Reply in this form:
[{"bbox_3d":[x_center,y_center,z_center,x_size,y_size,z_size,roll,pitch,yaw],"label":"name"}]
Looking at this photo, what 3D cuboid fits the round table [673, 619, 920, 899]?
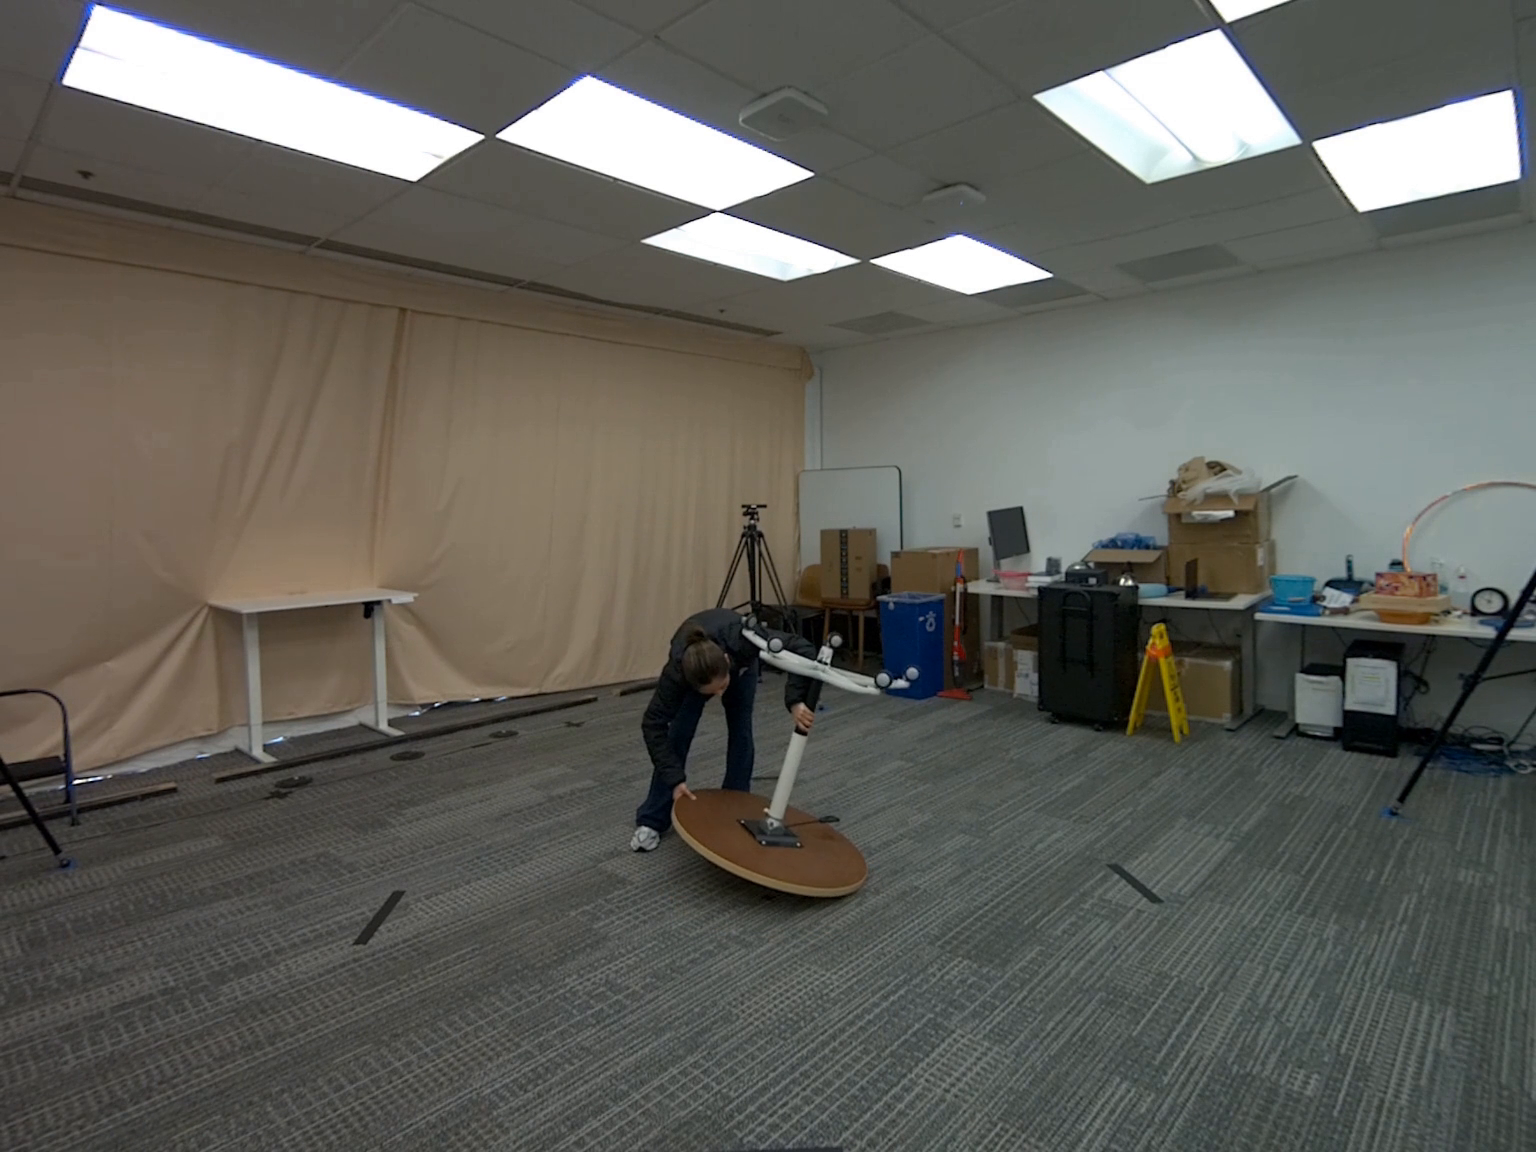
[{"bbox_3d":[0.142,0.628,3.168,0.783,0.785,0.789,15,5,-3],"label":"round table"}]
